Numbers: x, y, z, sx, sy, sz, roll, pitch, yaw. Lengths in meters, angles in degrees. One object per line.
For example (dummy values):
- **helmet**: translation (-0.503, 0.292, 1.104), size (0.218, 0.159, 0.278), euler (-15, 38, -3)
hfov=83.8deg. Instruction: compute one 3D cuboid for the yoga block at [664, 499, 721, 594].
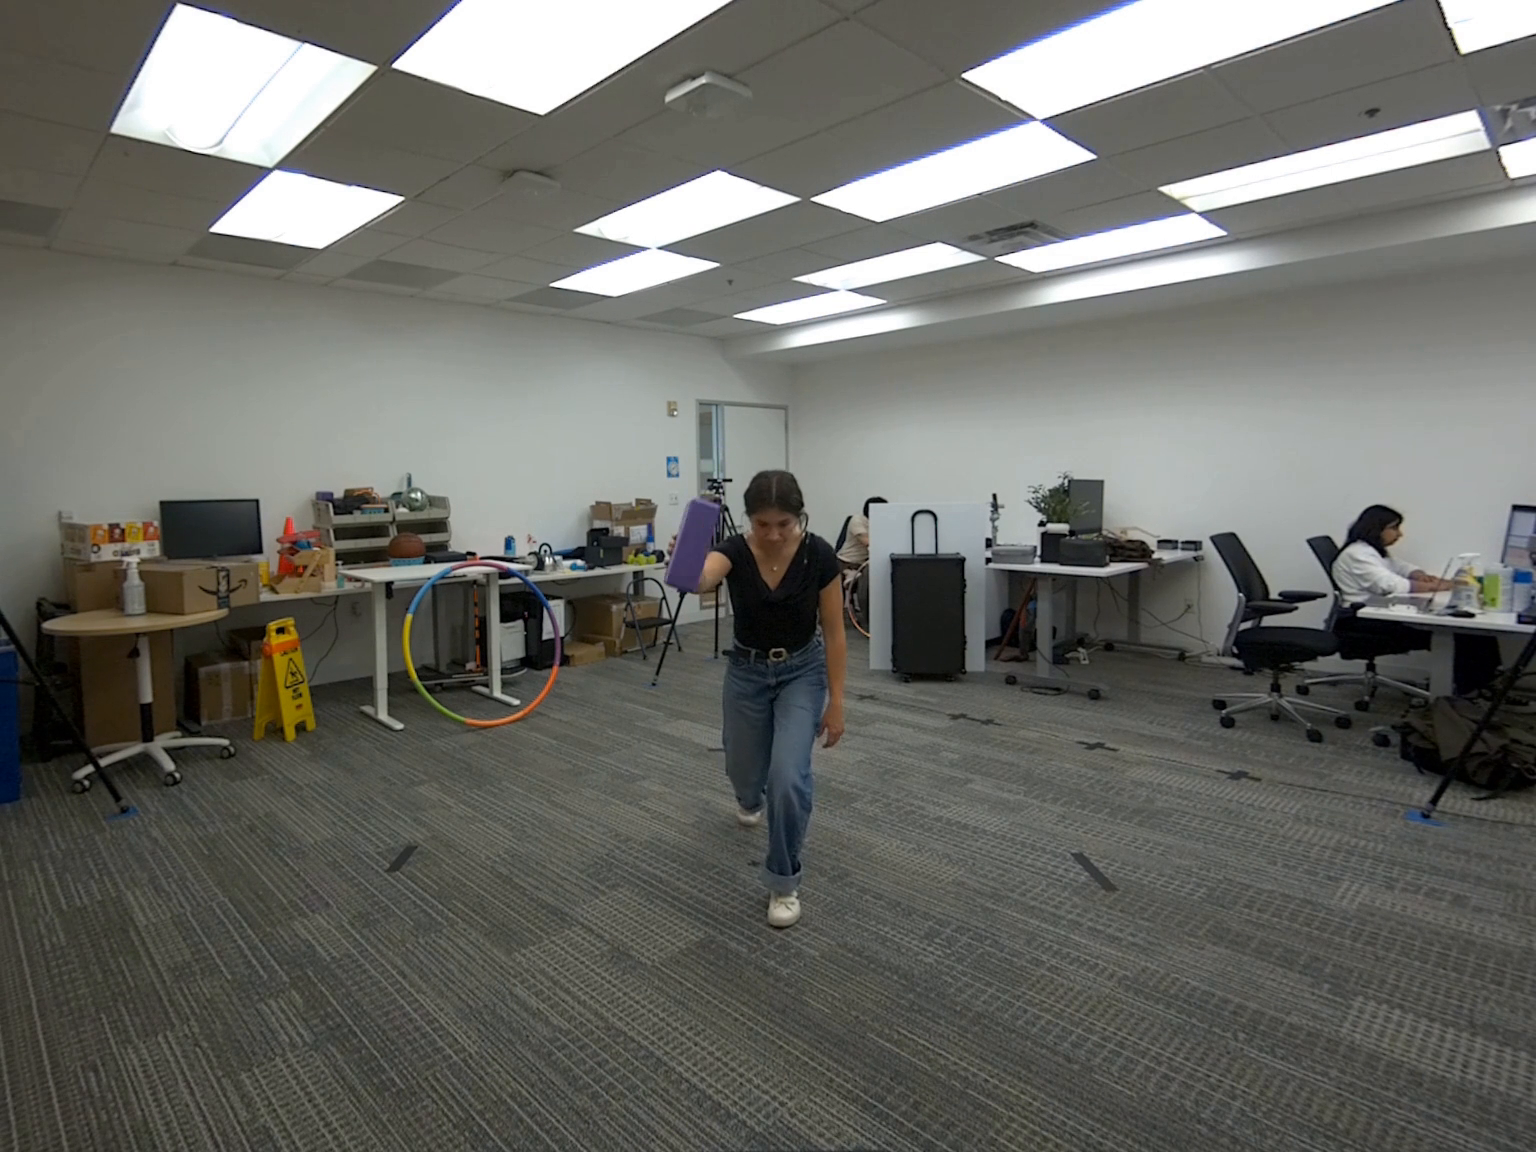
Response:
- **yoga block**: translation (-0.188, -0.074, 2.201), size (0.076, 0.230, 0.150), euler (14, -4, -8)
